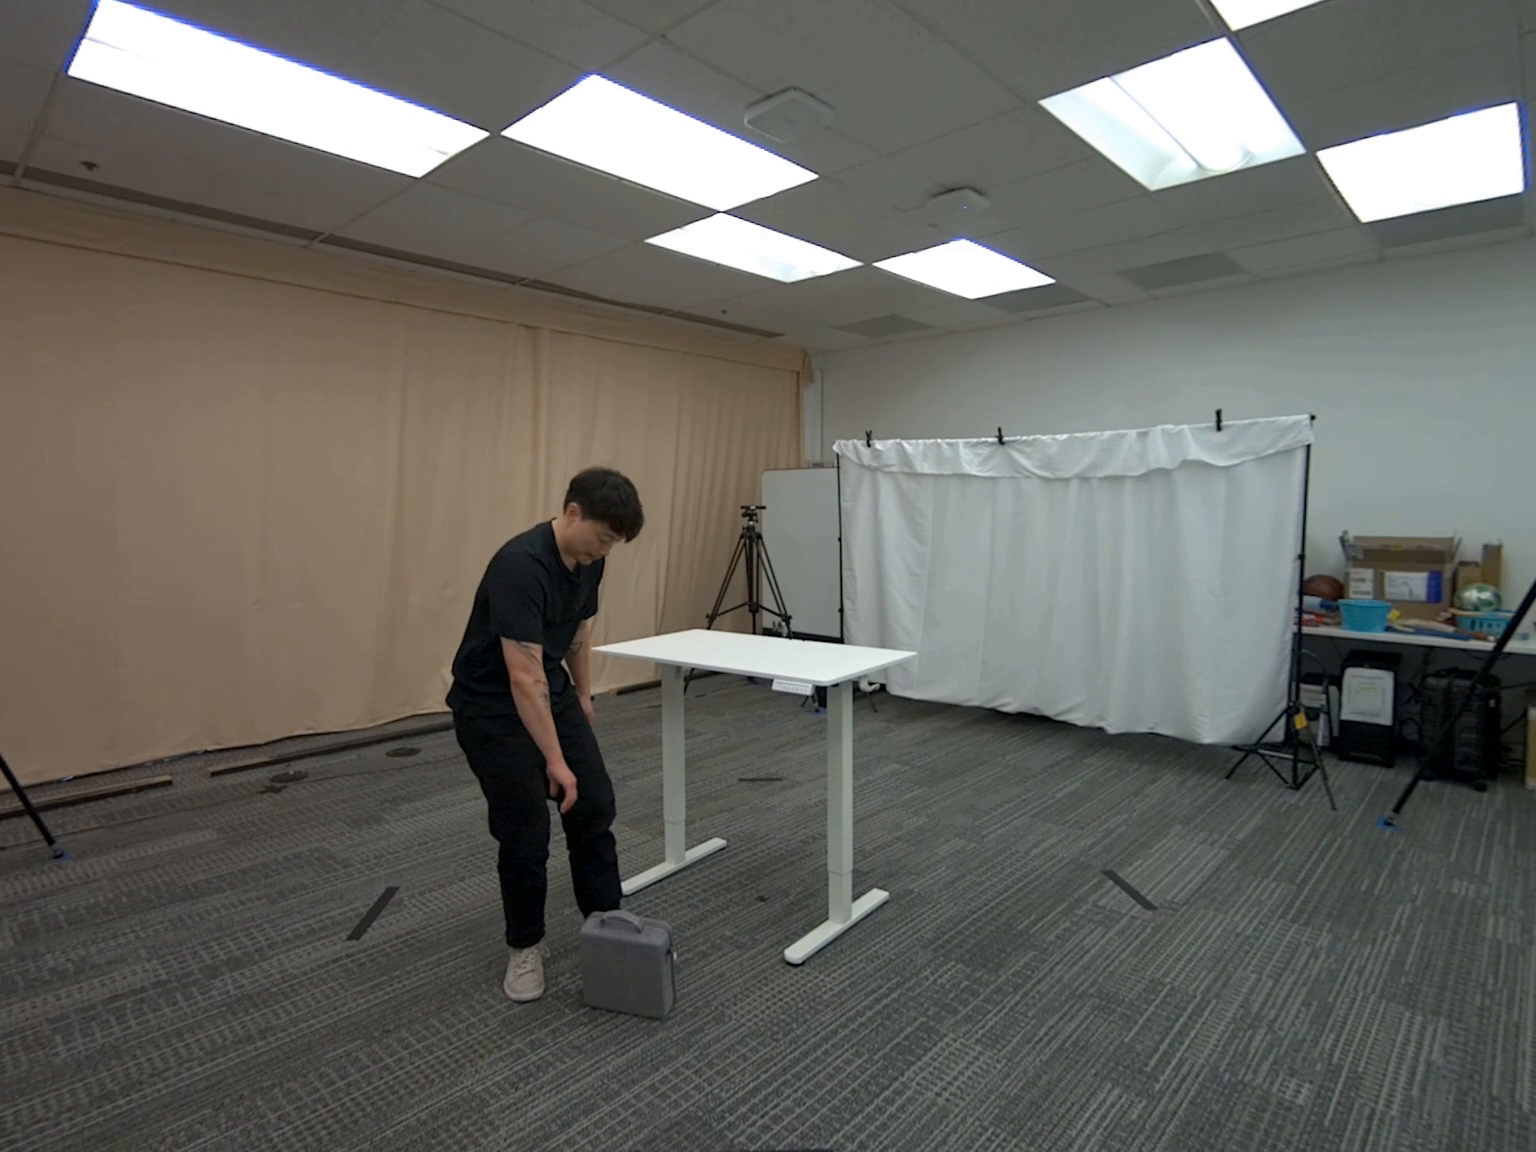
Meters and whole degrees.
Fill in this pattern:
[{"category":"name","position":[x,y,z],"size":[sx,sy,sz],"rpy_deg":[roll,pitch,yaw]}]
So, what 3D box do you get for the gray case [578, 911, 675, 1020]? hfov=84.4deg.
[{"category":"gray case","position":[-0.385,1.066,2.326],"size":[0.261,0.258,0.103],"rpy_deg":[1,13,17]}]
